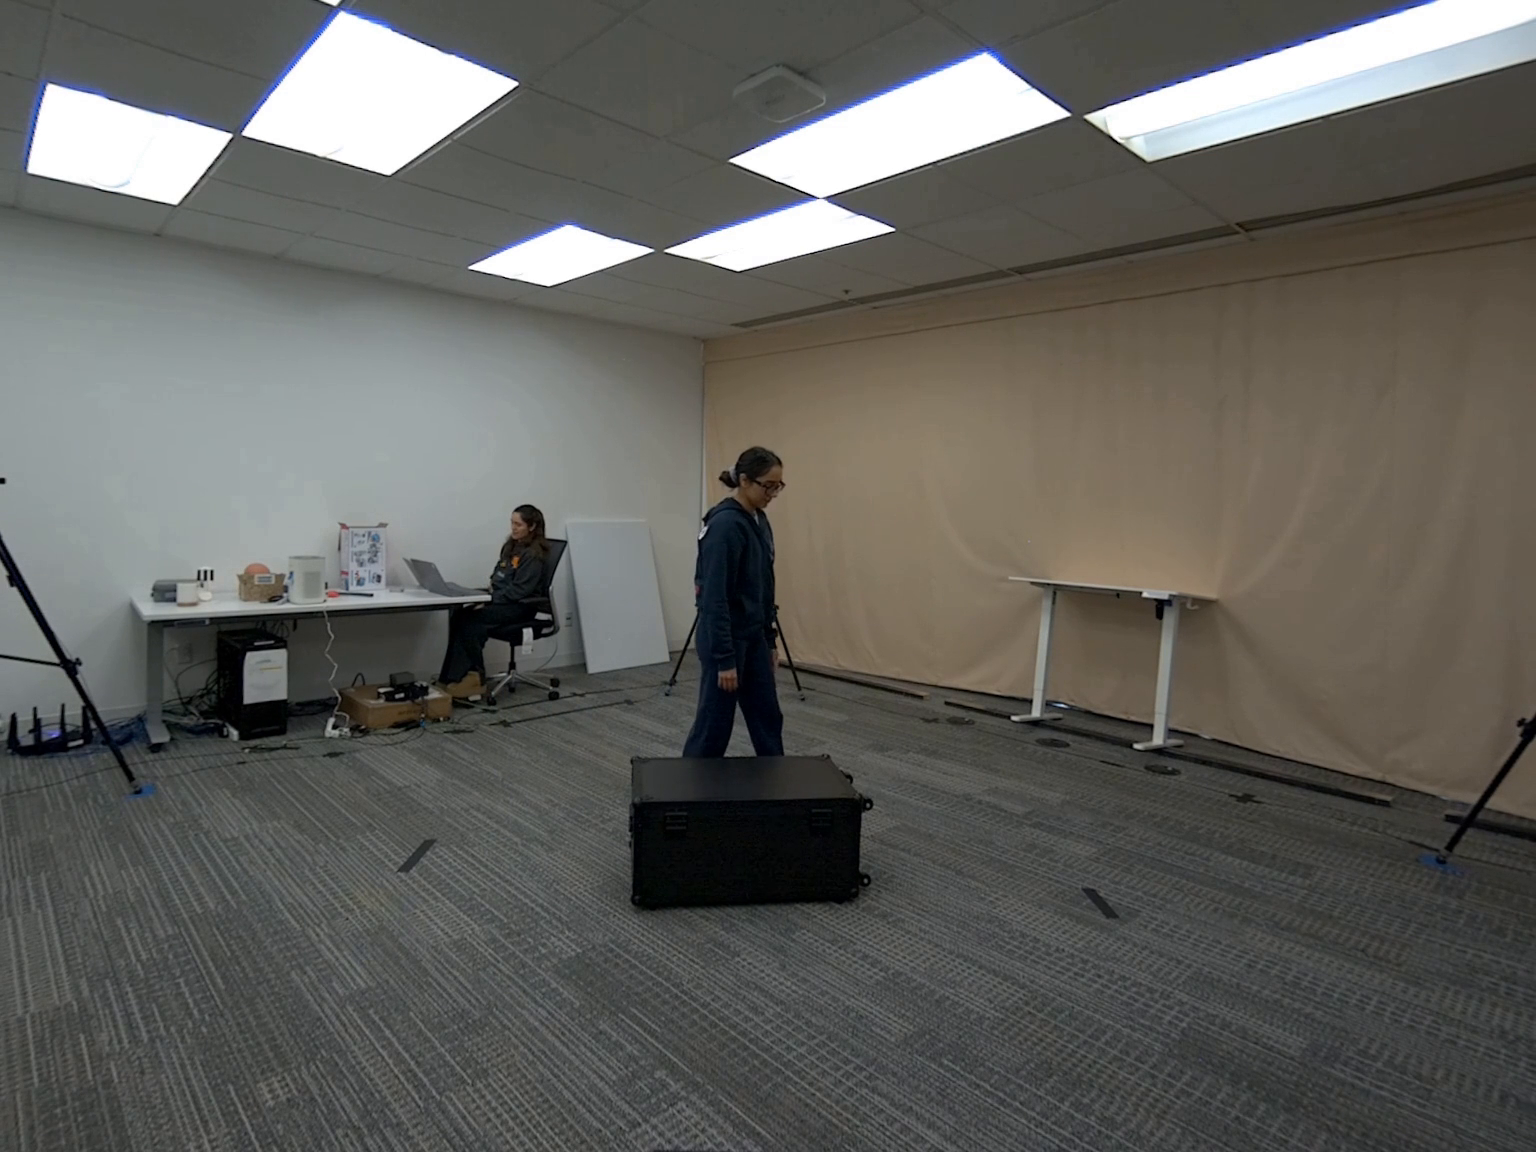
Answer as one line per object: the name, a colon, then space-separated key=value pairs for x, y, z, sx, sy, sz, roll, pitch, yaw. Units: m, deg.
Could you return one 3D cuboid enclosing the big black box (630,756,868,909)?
big black box: x=-0.075 y=0.916 z=3.089 sx=0.855 sy=0.395 sz=0.526 roll=1 pitch=4 yaw=-9
